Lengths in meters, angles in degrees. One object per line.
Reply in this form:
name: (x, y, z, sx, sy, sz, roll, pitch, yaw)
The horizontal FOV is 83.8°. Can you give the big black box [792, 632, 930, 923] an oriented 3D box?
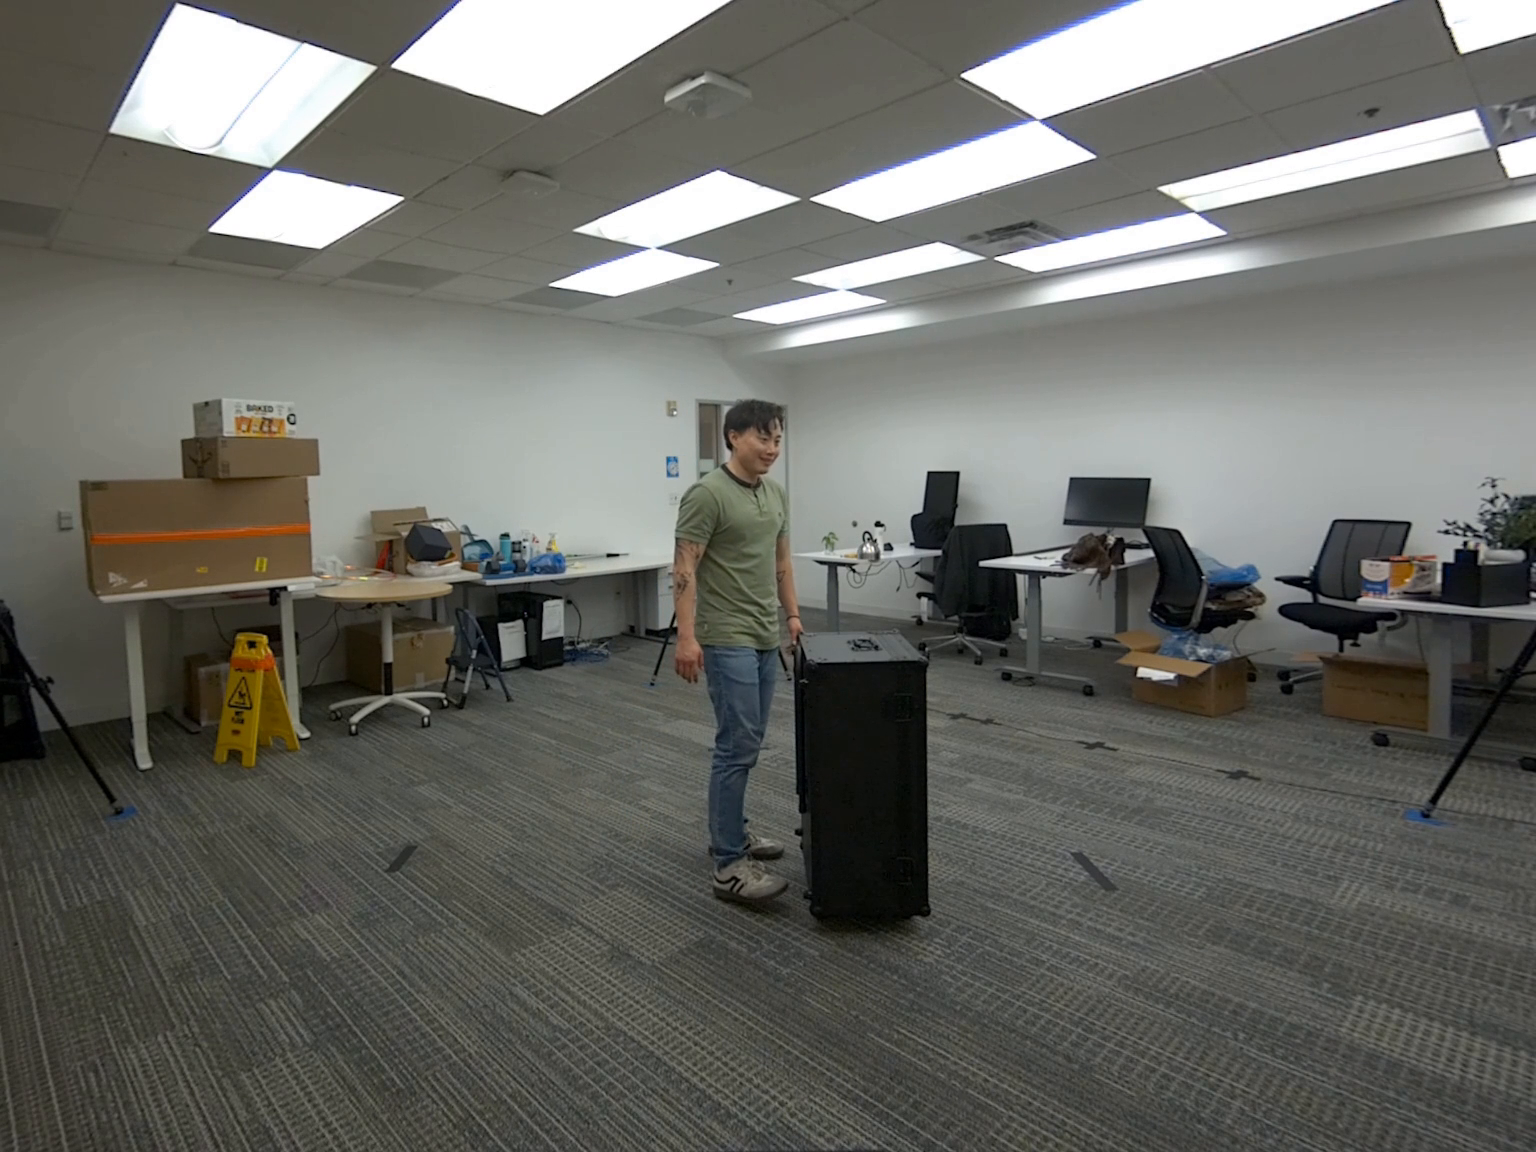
big black box: (0.292, 0.650, 2.785, 0.397, 0.859, 0.522, -2, 4, 2)
